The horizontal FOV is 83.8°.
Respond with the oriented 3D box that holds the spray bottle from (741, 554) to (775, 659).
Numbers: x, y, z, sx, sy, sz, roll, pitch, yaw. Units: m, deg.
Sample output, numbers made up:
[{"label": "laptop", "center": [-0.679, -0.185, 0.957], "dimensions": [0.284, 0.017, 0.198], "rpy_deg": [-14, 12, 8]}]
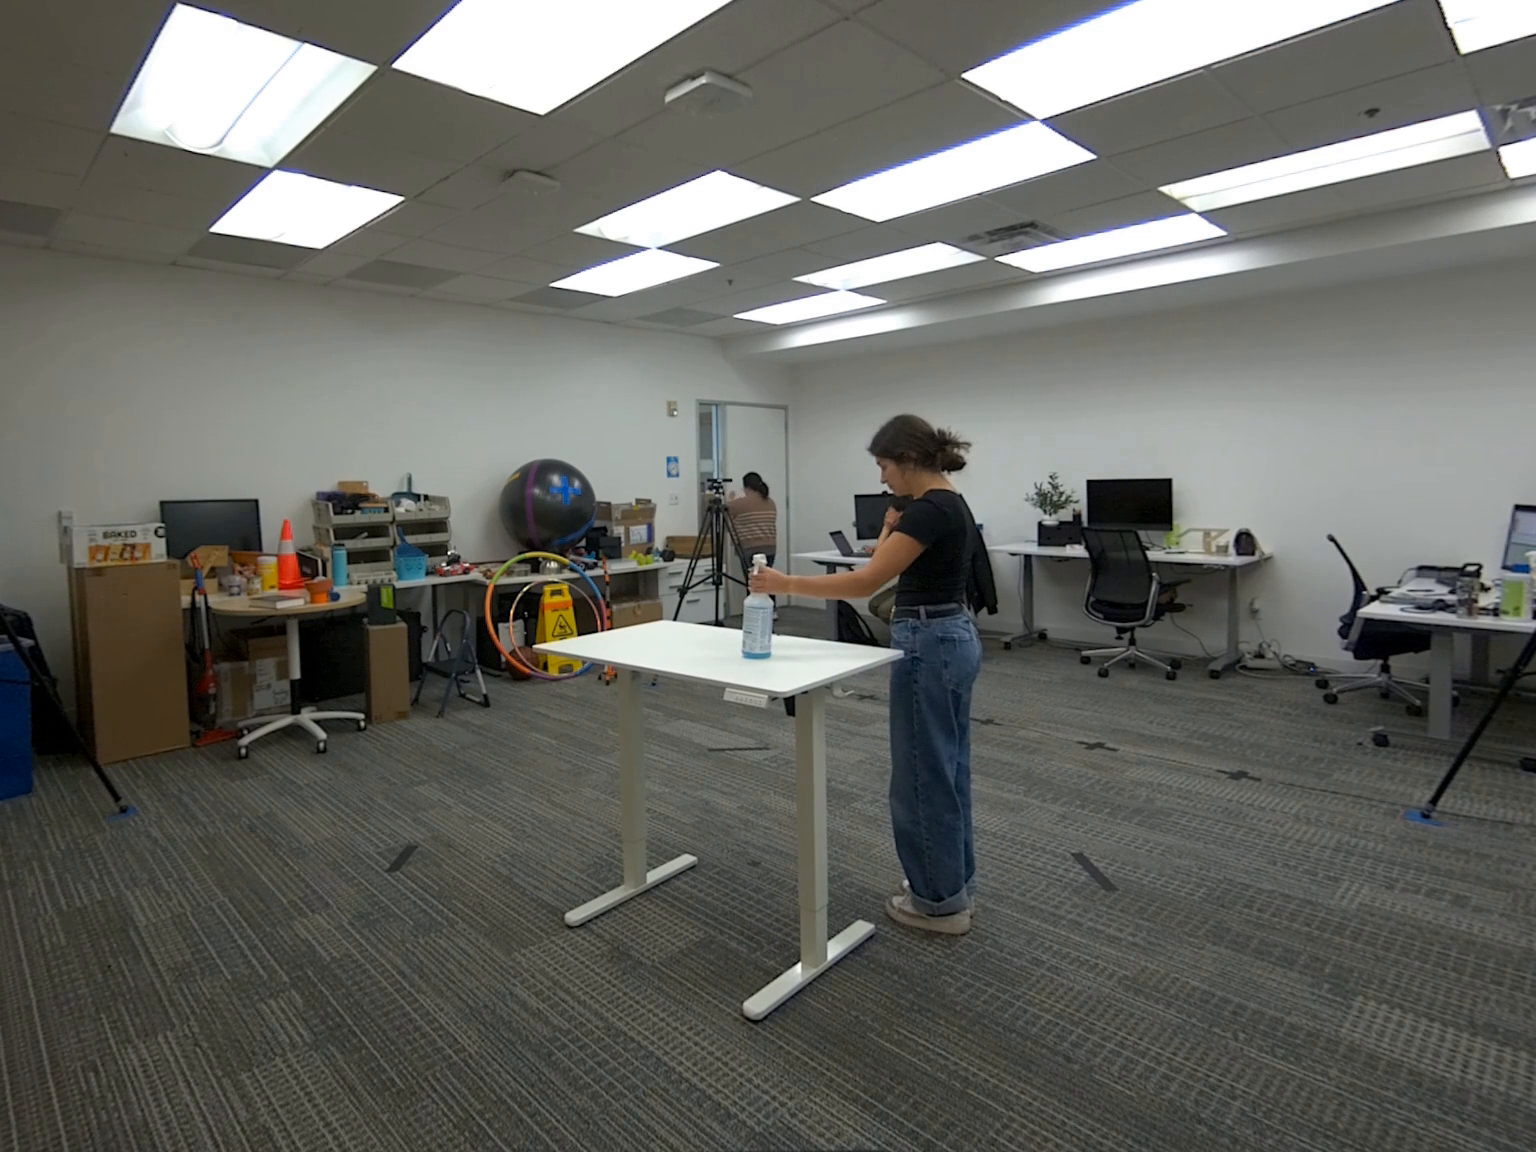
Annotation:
[{"label": "spray bottle", "center": [-0.014, 0.083, 2.466], "dimensions": [0.090, 0.296, 0.087], "rpy_deg": [9, 9, 44]}]
